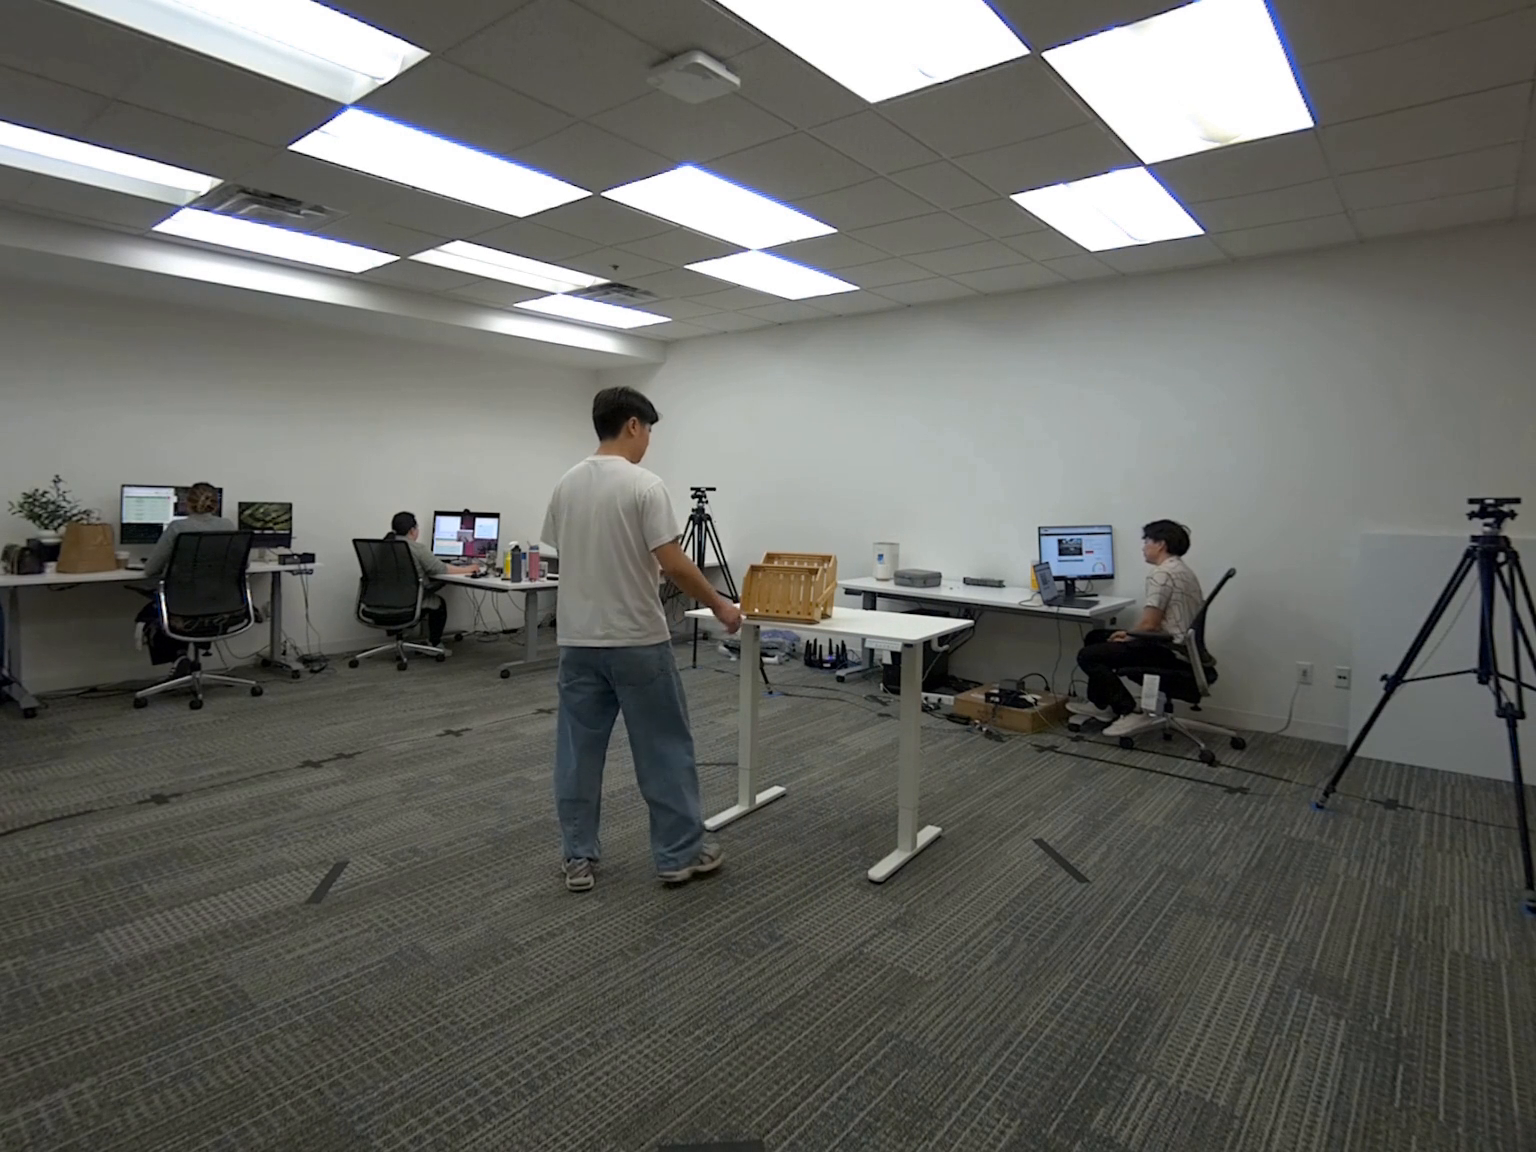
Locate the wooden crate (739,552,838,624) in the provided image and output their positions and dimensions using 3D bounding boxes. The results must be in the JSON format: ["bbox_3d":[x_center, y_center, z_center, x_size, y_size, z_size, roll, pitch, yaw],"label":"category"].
[{"bbox_3d":[0.083,0.029,3.382,0.332,0.305,0.264,2,-13,20],"label":"wooden crate"}]
